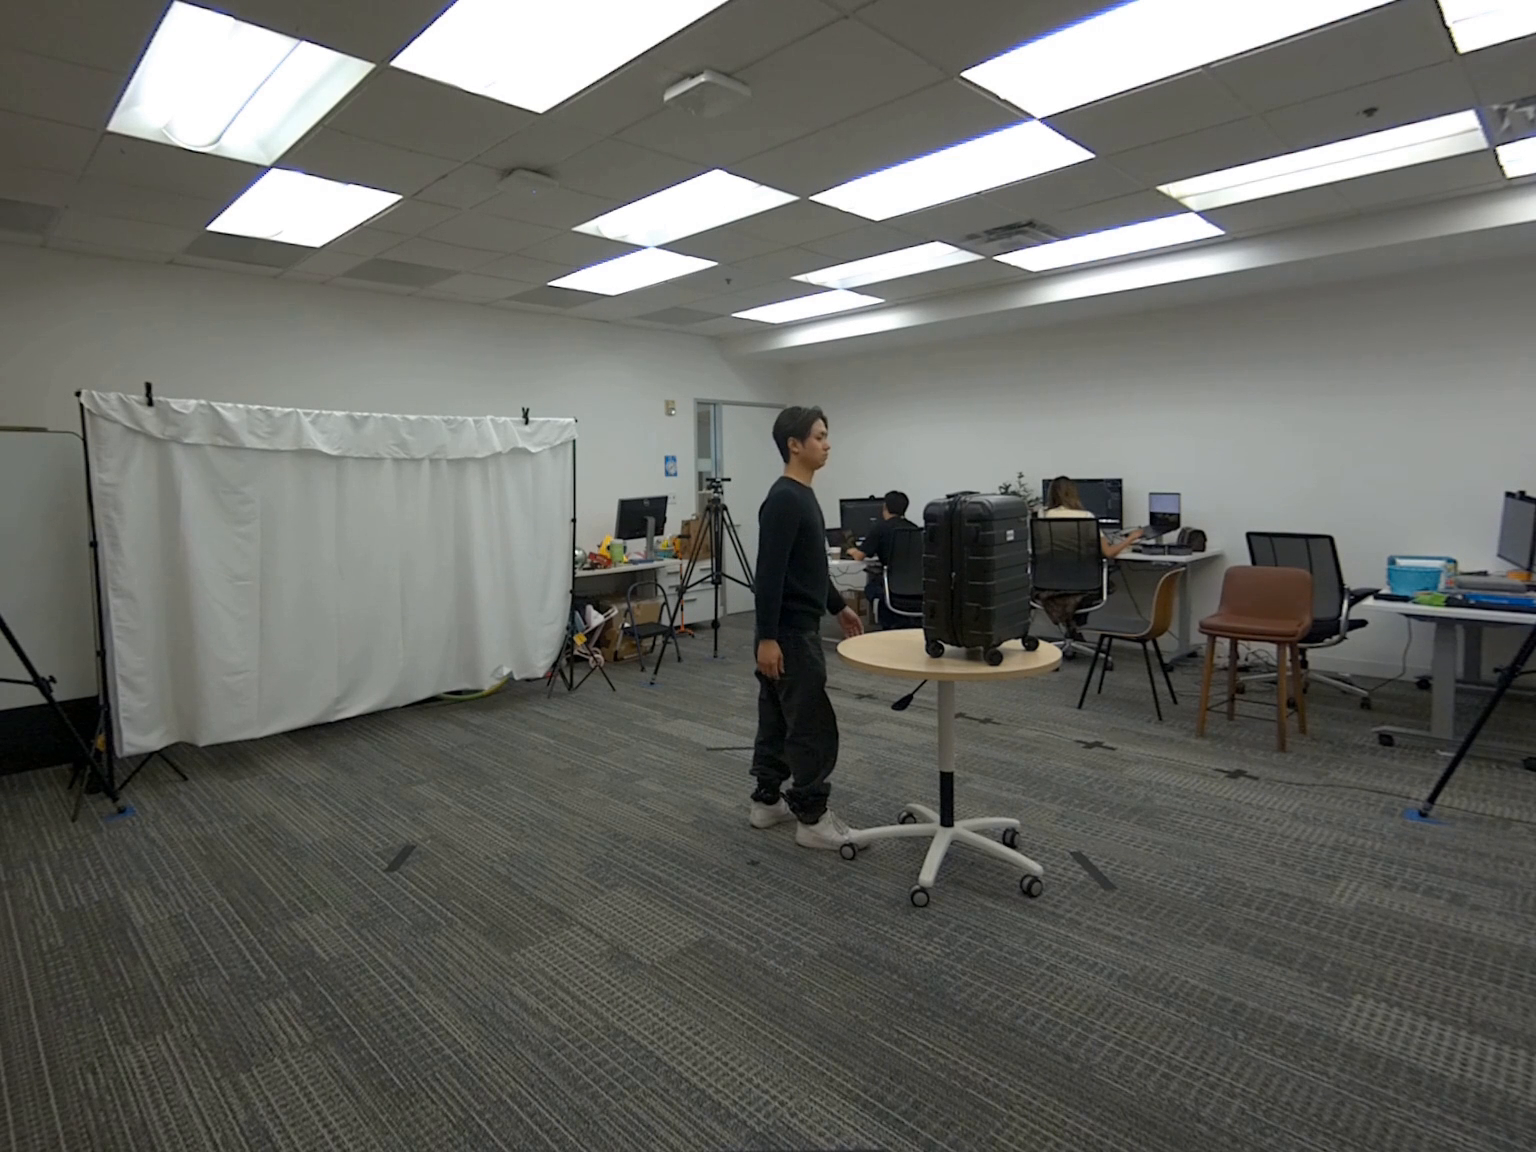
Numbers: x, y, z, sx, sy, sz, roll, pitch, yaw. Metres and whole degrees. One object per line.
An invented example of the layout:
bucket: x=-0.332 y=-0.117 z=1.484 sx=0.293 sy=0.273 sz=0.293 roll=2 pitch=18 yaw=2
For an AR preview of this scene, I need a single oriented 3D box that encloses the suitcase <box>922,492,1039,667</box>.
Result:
suitcase: x=0.718 y=-0.011 z=2.904 sx=0.256 sy=0.547 sz=0.366 roll=2 pitch=6 yaw=41
